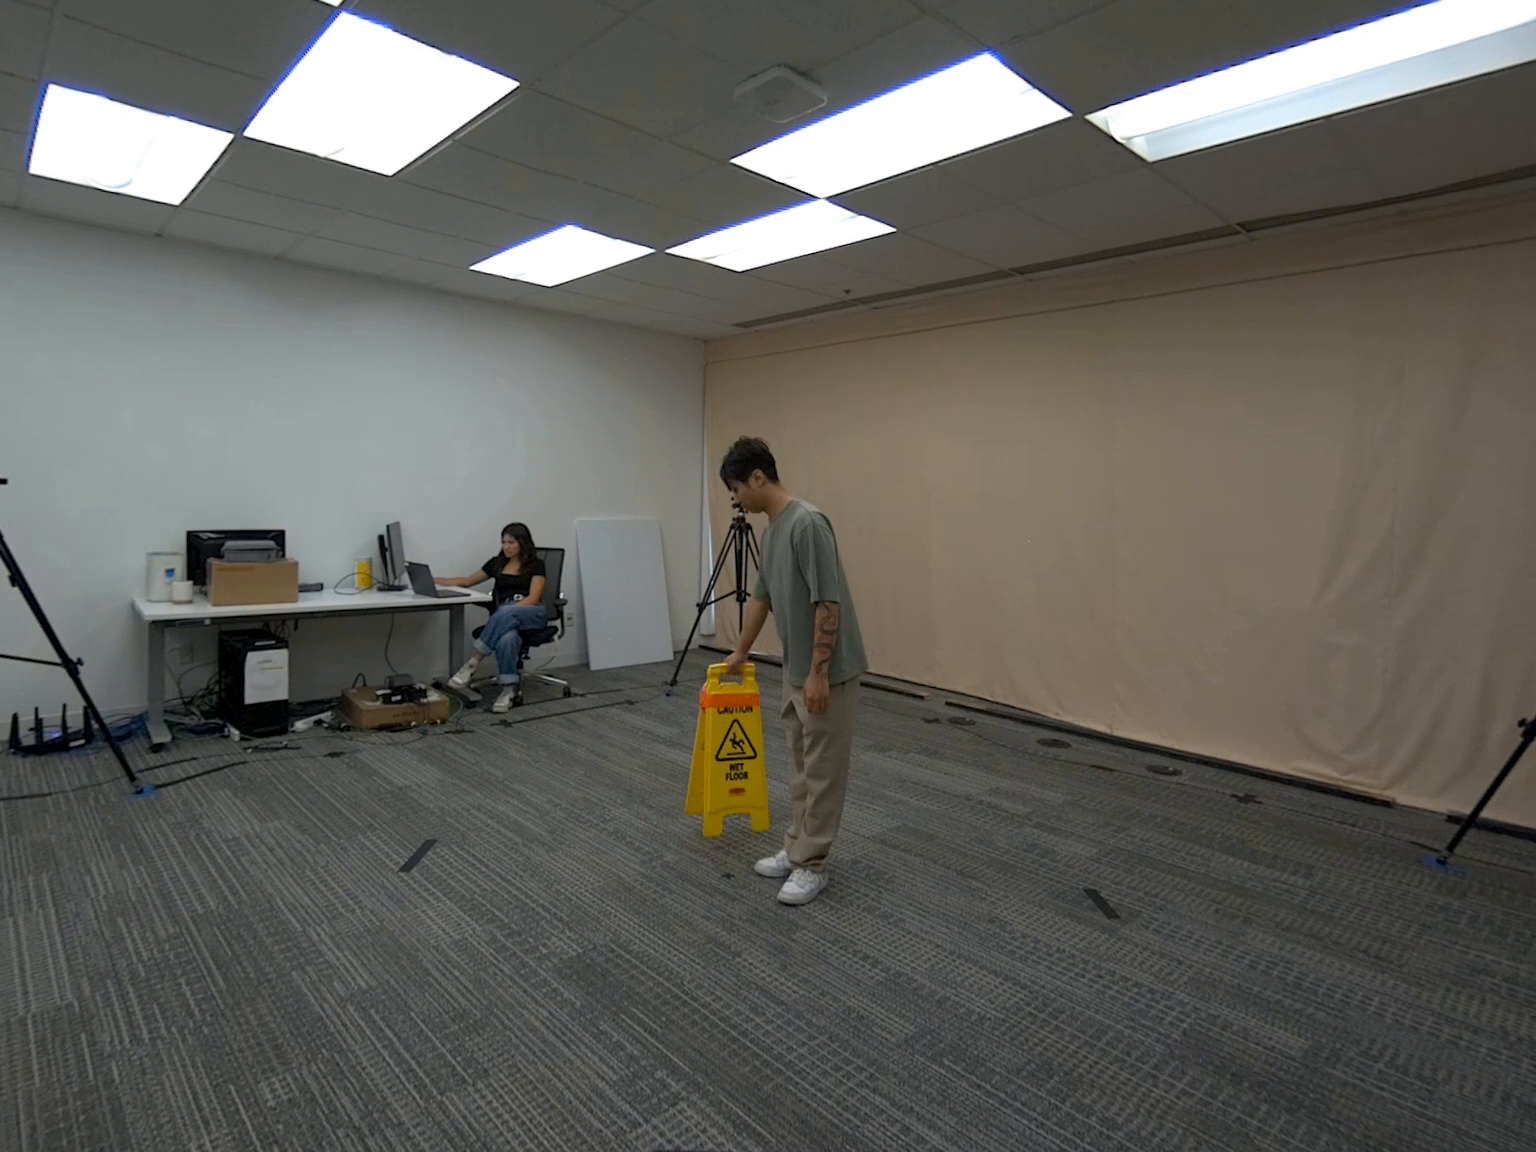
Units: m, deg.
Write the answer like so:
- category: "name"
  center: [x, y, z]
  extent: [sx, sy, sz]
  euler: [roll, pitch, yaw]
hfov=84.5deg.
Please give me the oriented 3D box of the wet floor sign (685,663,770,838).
- category: "wet floor sign"
  center: [-0.167, 0.685, 3.415]
  extent: [0.278, 0.644, 0.295]
  euler: [0, 4, -22]
